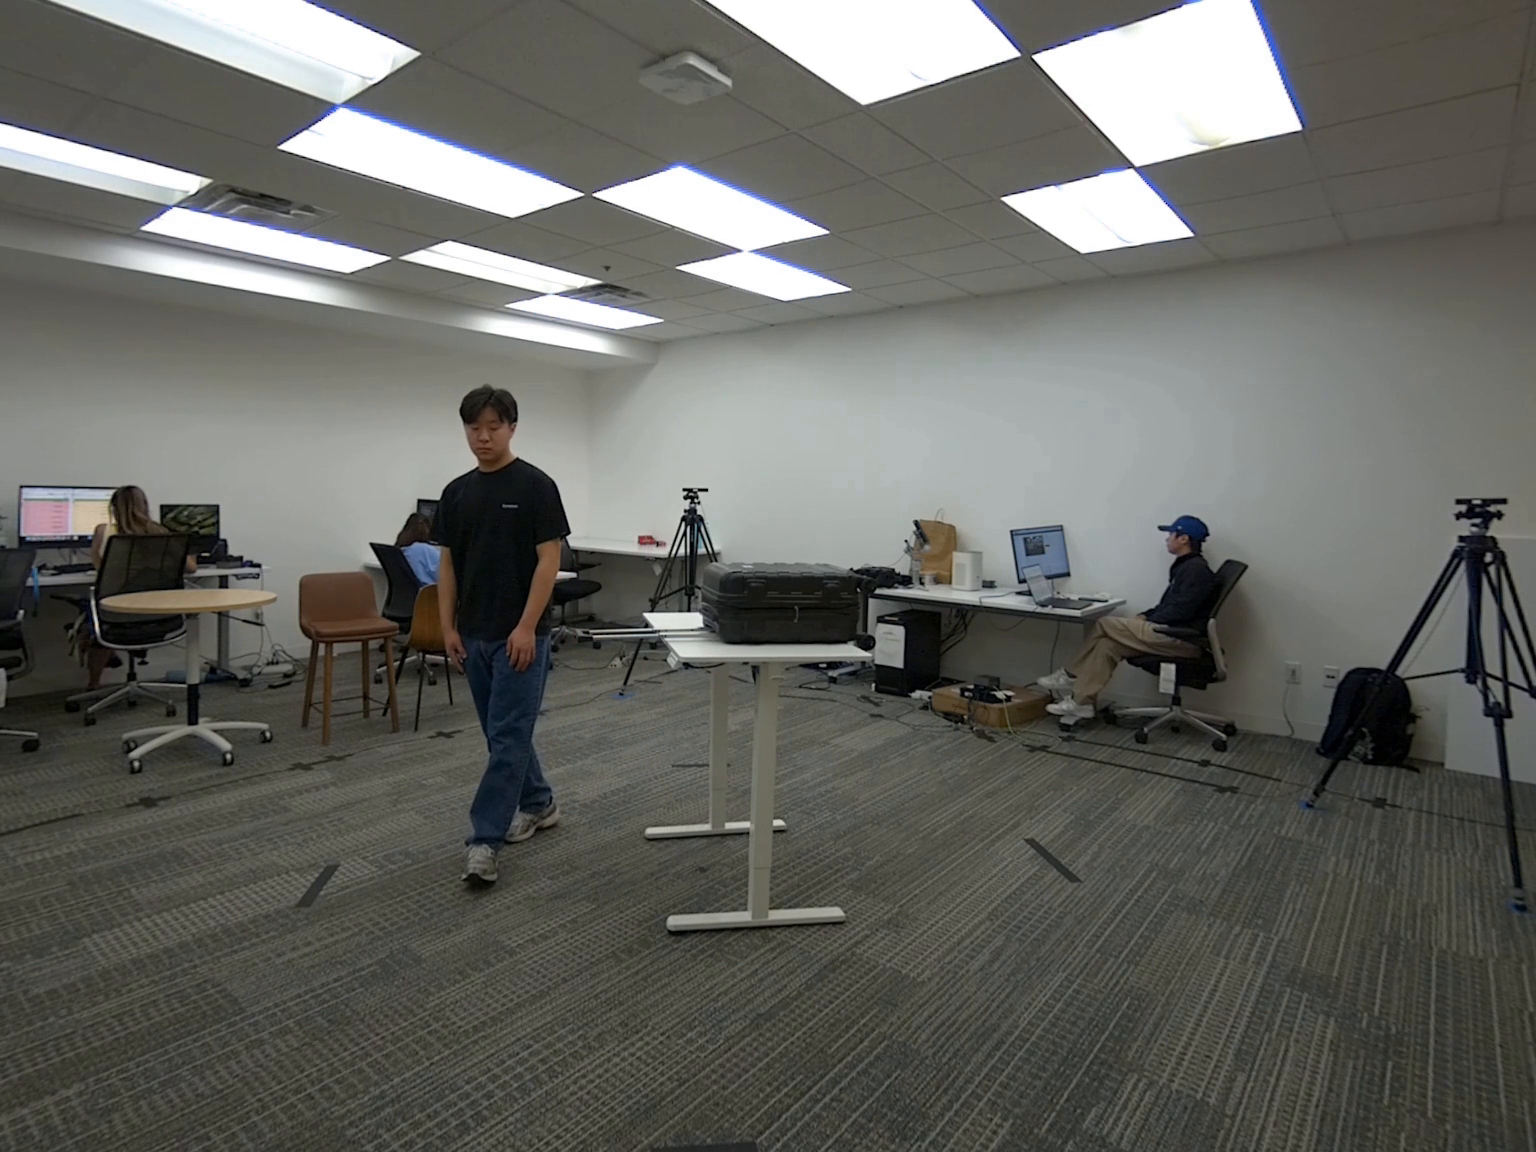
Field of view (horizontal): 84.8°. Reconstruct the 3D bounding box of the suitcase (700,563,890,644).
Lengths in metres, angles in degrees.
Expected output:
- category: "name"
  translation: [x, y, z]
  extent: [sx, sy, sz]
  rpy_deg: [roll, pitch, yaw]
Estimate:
- category: "suitcase"
  translation: [-0.154, 0.085, 2.886]
  extent: [0.963, 0.256, 0.391]
  rpy_deg: [2, 5, -15]
